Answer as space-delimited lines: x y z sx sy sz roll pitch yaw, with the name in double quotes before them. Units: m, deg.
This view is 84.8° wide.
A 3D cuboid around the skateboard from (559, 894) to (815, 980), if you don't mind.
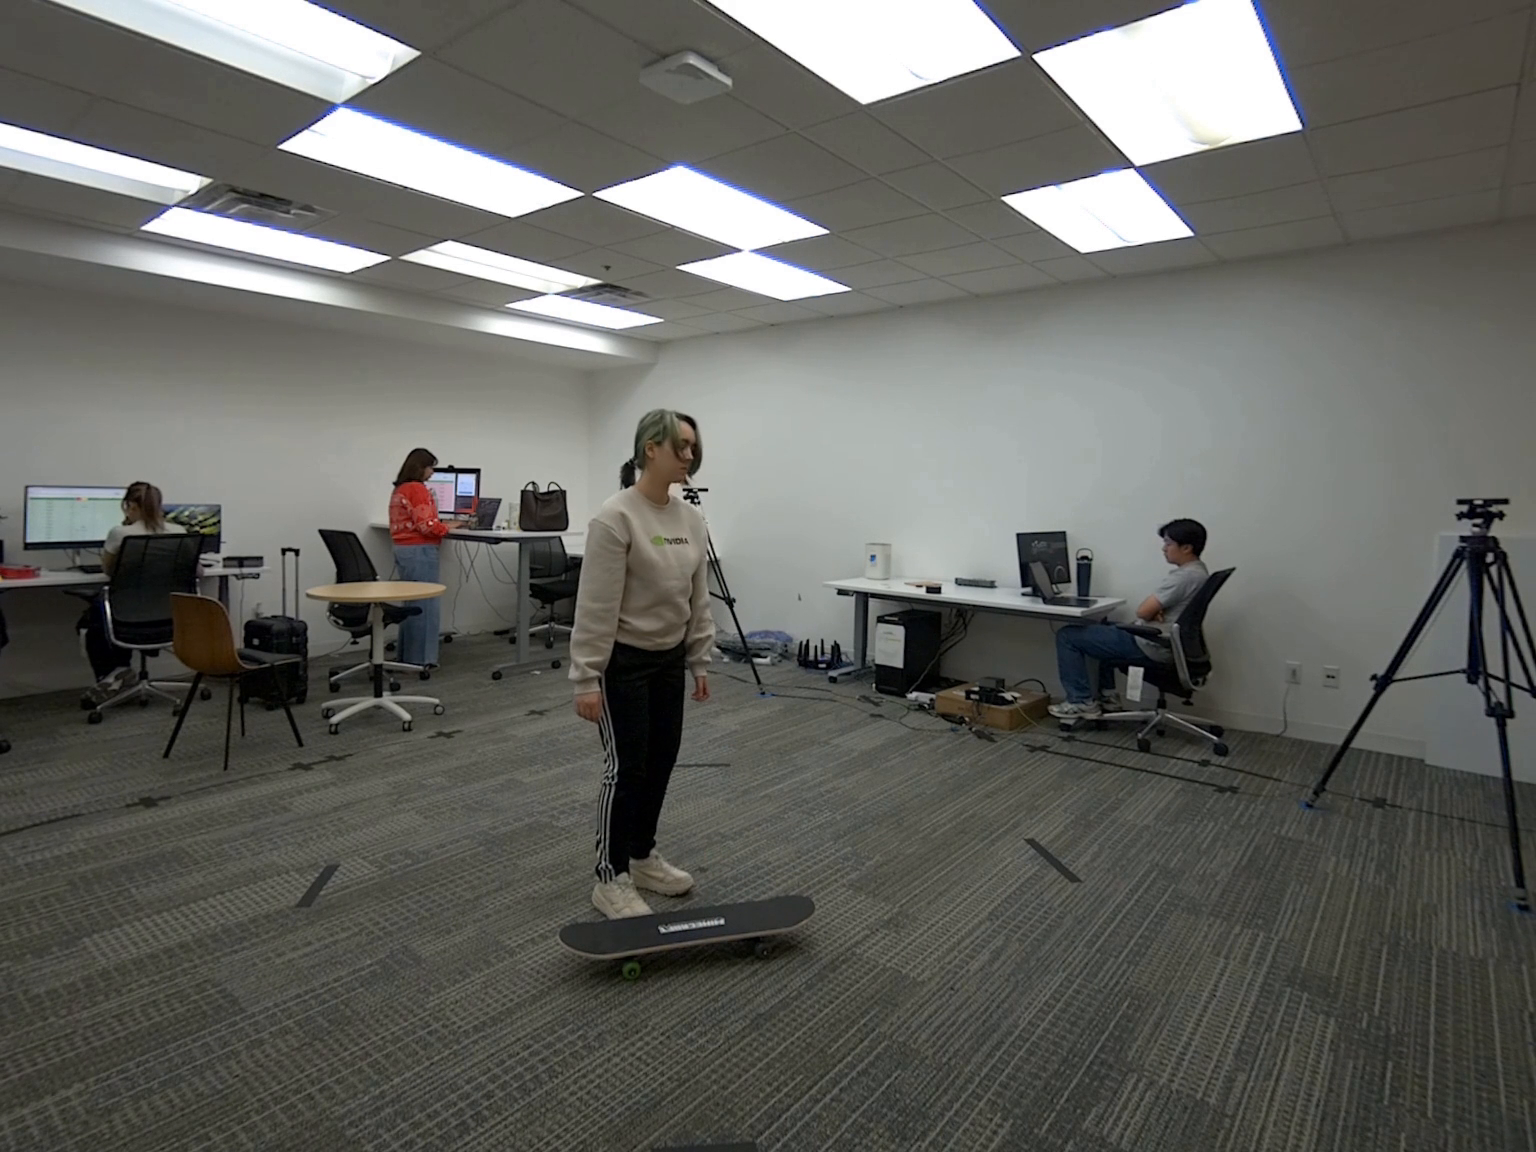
"skateboard" -0.226 1.069 2.531 0.771 0.110 0.198 -1 6 -18
